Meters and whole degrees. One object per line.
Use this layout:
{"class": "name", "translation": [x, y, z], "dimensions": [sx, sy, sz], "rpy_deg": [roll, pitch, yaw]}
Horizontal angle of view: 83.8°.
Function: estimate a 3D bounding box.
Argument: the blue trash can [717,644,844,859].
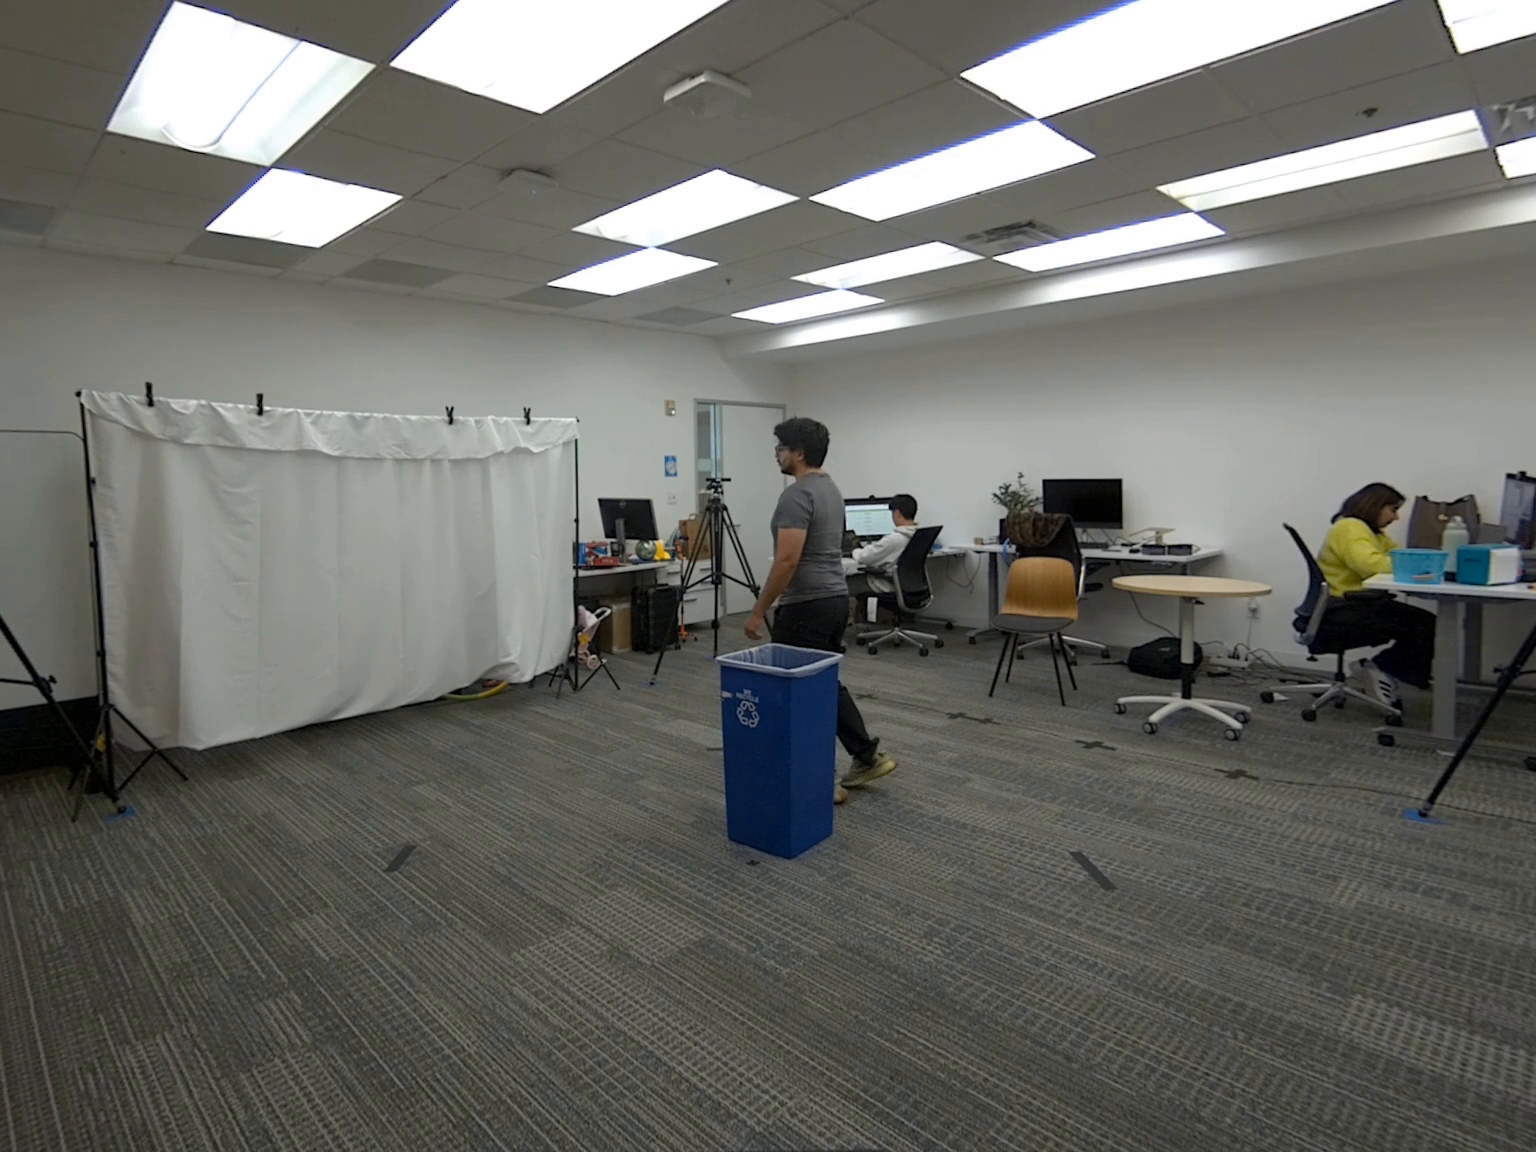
{"class": "blue trash can", "translation": [0.053, 0.661, 3.302], "dimensions": [0.385, 0.711, 0.368], "rpy_deg": [2, 5, 38]}
